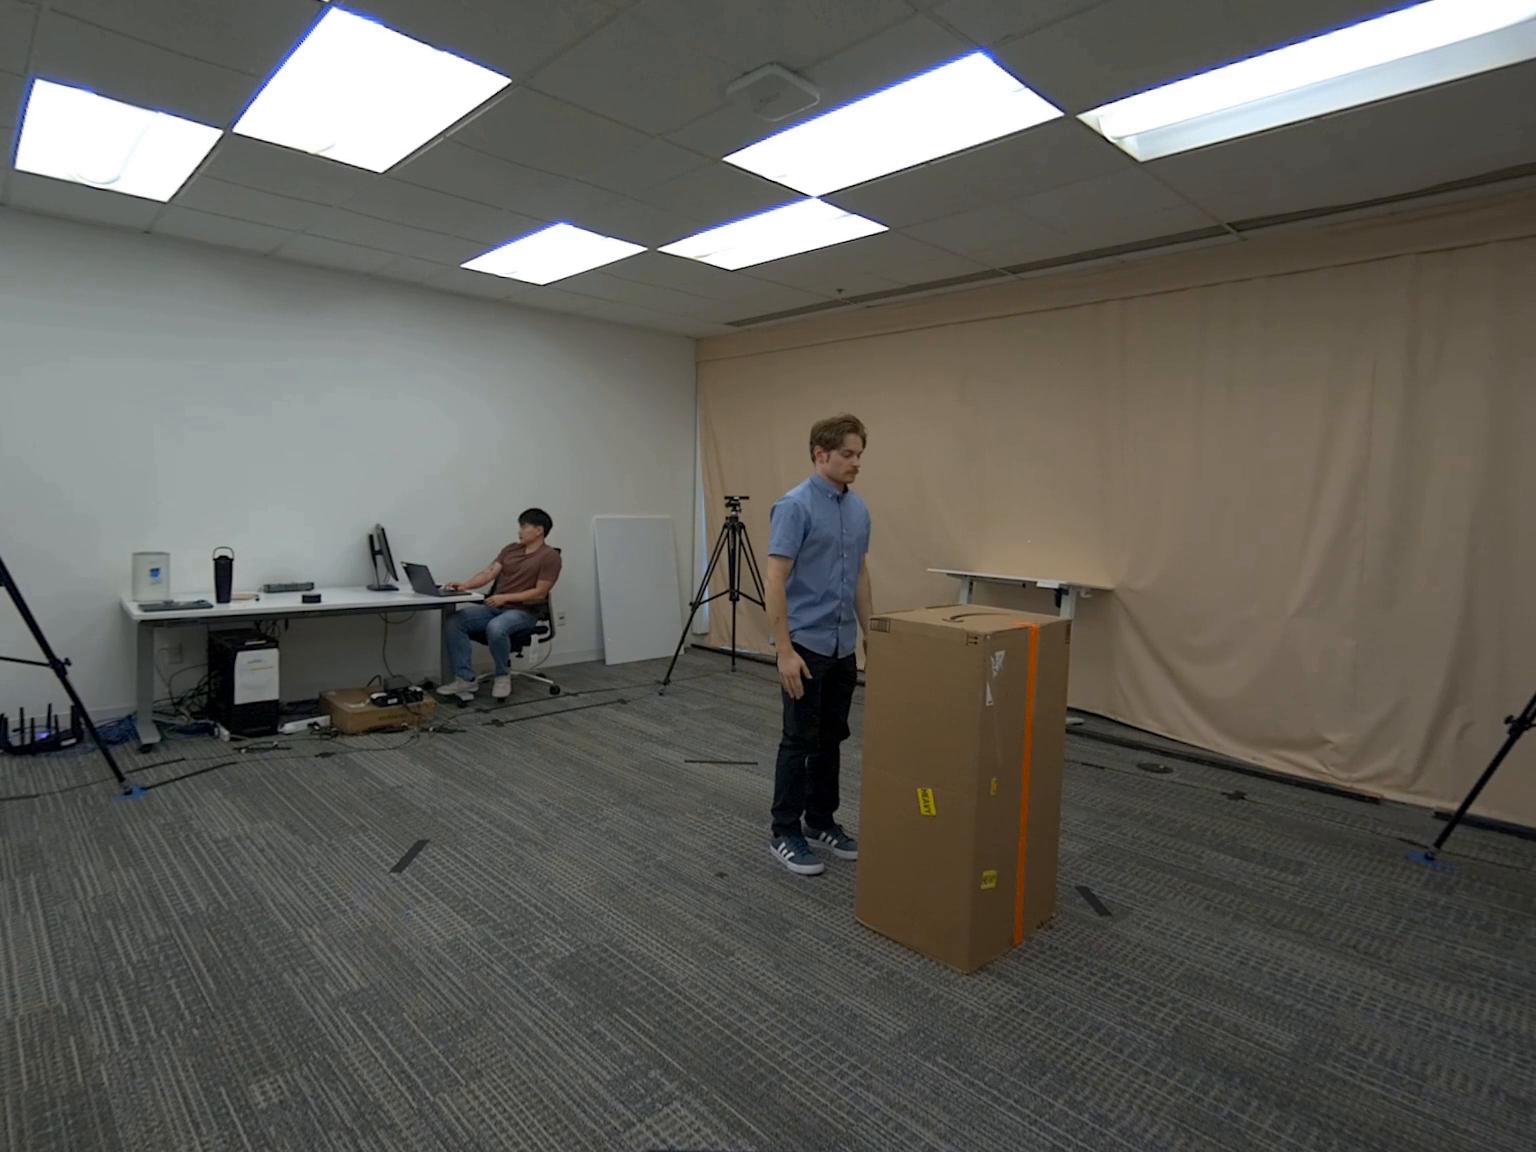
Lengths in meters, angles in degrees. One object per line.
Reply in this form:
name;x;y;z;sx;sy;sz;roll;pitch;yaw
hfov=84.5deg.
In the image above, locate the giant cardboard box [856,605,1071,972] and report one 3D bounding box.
giant cardboard box;0.655;0.645;2.795;0.564;1.024;0.437;-1;4;-45
